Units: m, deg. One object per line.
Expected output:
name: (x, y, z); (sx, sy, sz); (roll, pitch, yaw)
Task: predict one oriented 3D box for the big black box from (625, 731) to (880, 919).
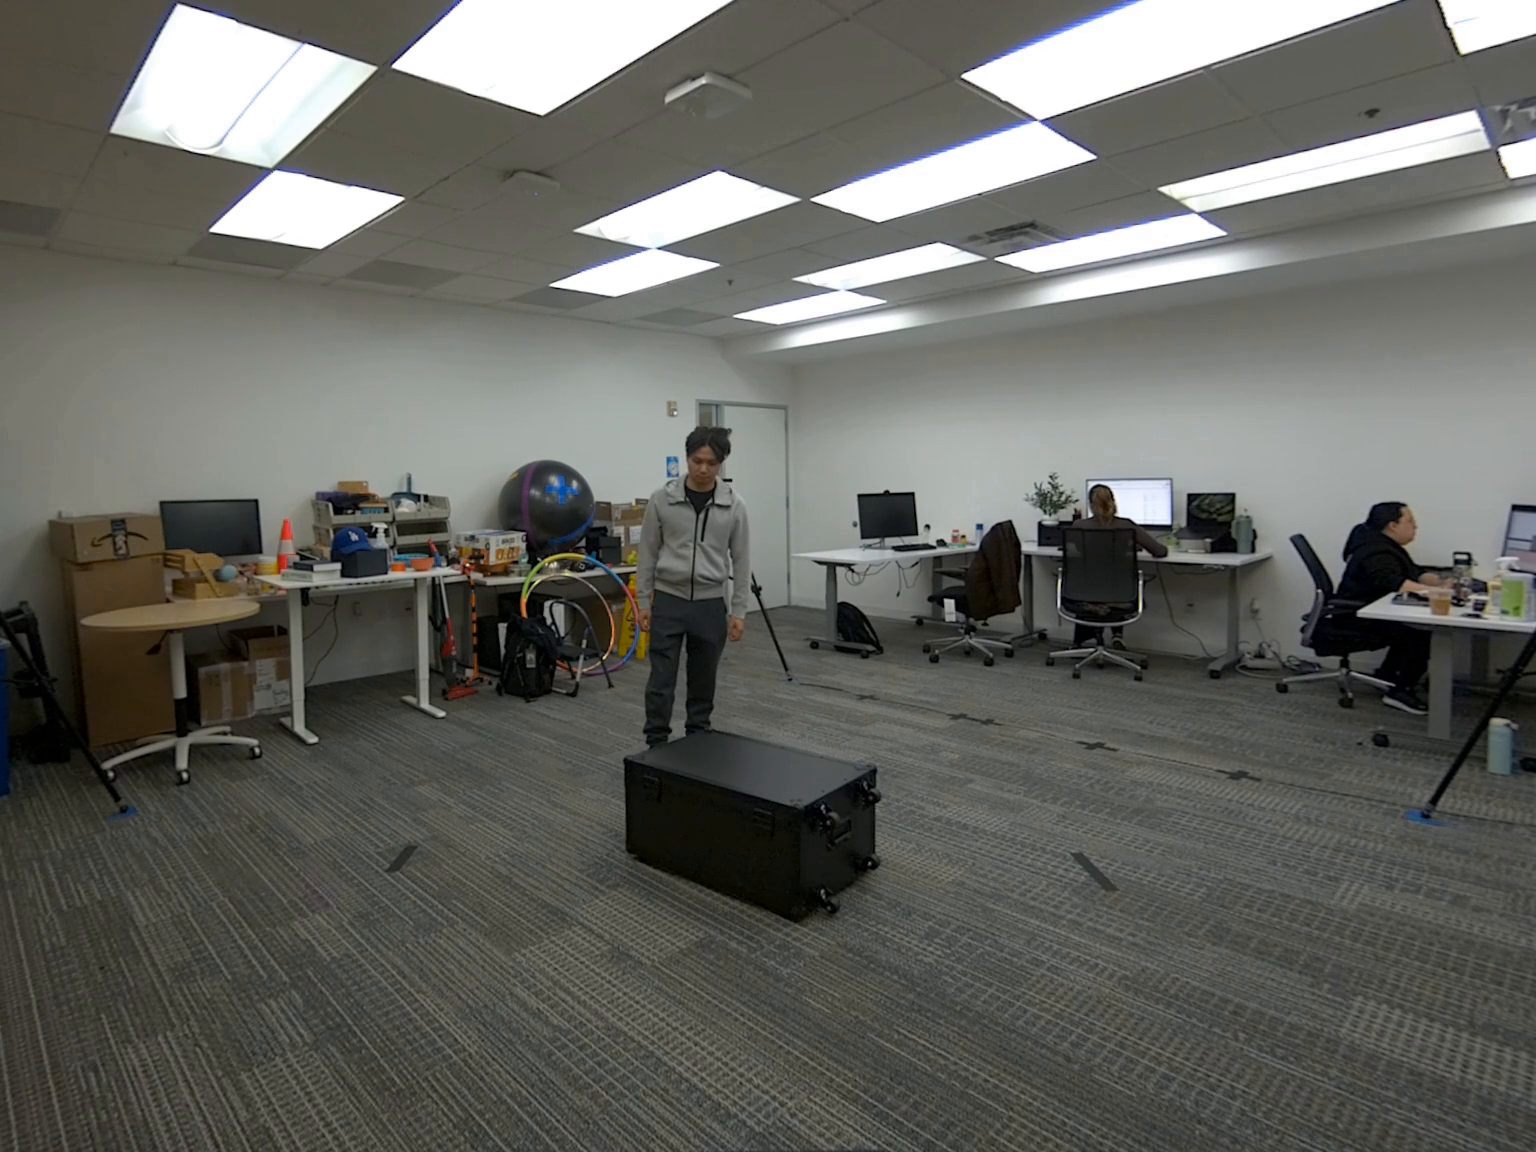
big black box: (-0.049, 0.858, 3.067); (0.887, 0.395, 0.508); (3, 6, 37)
